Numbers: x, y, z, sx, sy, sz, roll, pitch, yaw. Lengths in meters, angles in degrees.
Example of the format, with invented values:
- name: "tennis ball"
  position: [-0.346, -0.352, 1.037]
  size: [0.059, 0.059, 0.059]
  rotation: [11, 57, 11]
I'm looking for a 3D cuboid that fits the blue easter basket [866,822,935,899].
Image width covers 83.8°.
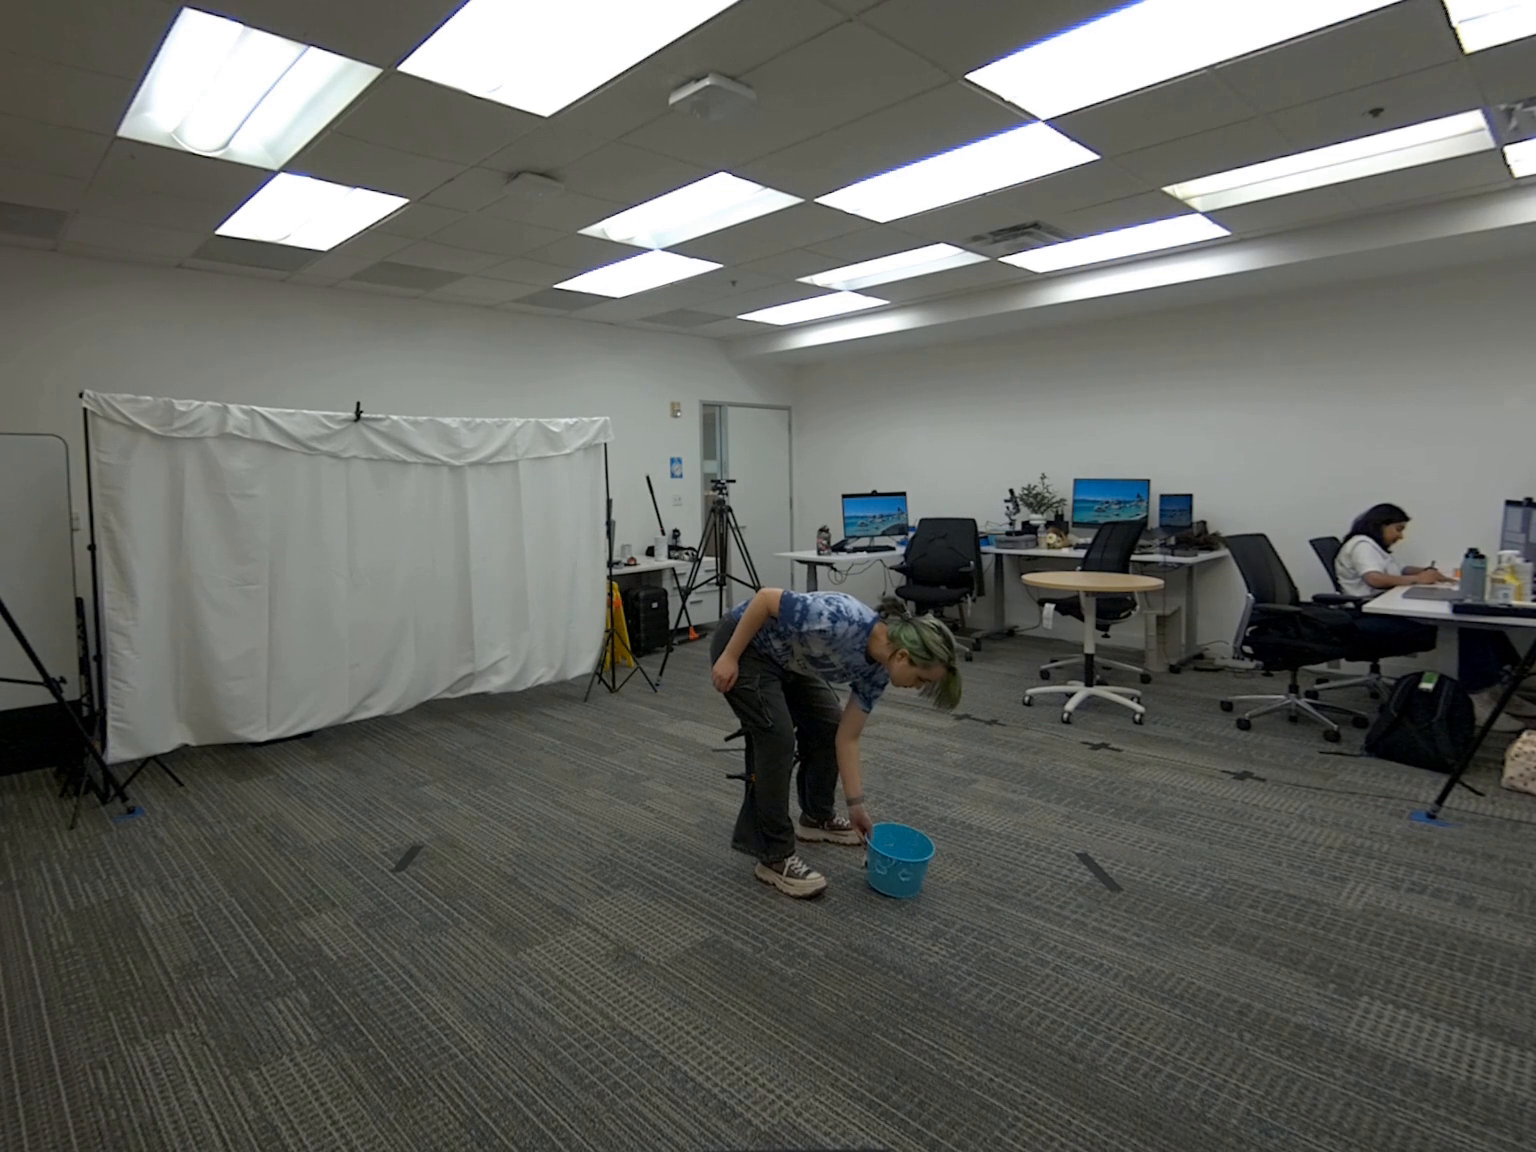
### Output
- name: "blue easter basket"
  position: [0.444, 0.971, 2.902]
  size: [0.243, 0.154, 0.246]
  rotation: [5, 11, -3]
